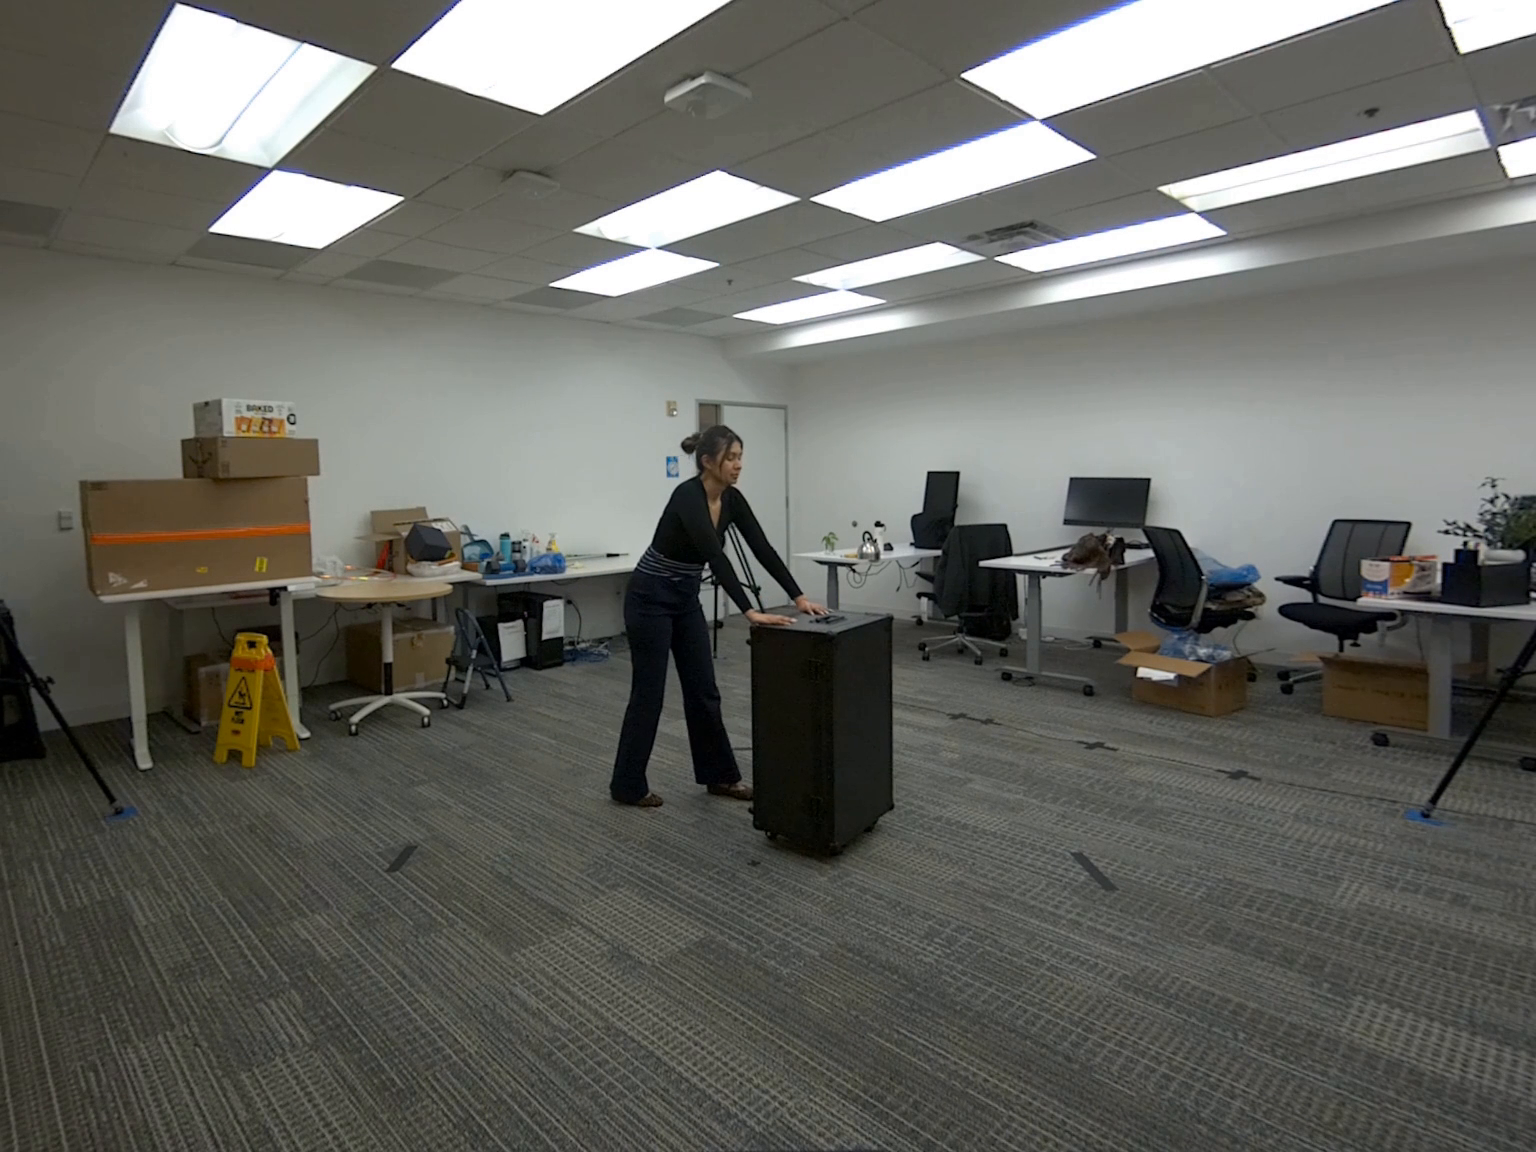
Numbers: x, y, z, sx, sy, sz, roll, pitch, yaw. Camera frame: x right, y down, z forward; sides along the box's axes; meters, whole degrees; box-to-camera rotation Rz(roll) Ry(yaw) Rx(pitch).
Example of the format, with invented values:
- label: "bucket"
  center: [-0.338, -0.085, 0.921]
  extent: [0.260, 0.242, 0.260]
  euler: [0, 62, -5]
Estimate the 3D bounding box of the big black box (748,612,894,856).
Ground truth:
- label: "big black box"
  center: [0.207, 0.590, 3.307]
  extent: [0.407, 0.858, 0.508]
  euler: [2, 5, 35]
